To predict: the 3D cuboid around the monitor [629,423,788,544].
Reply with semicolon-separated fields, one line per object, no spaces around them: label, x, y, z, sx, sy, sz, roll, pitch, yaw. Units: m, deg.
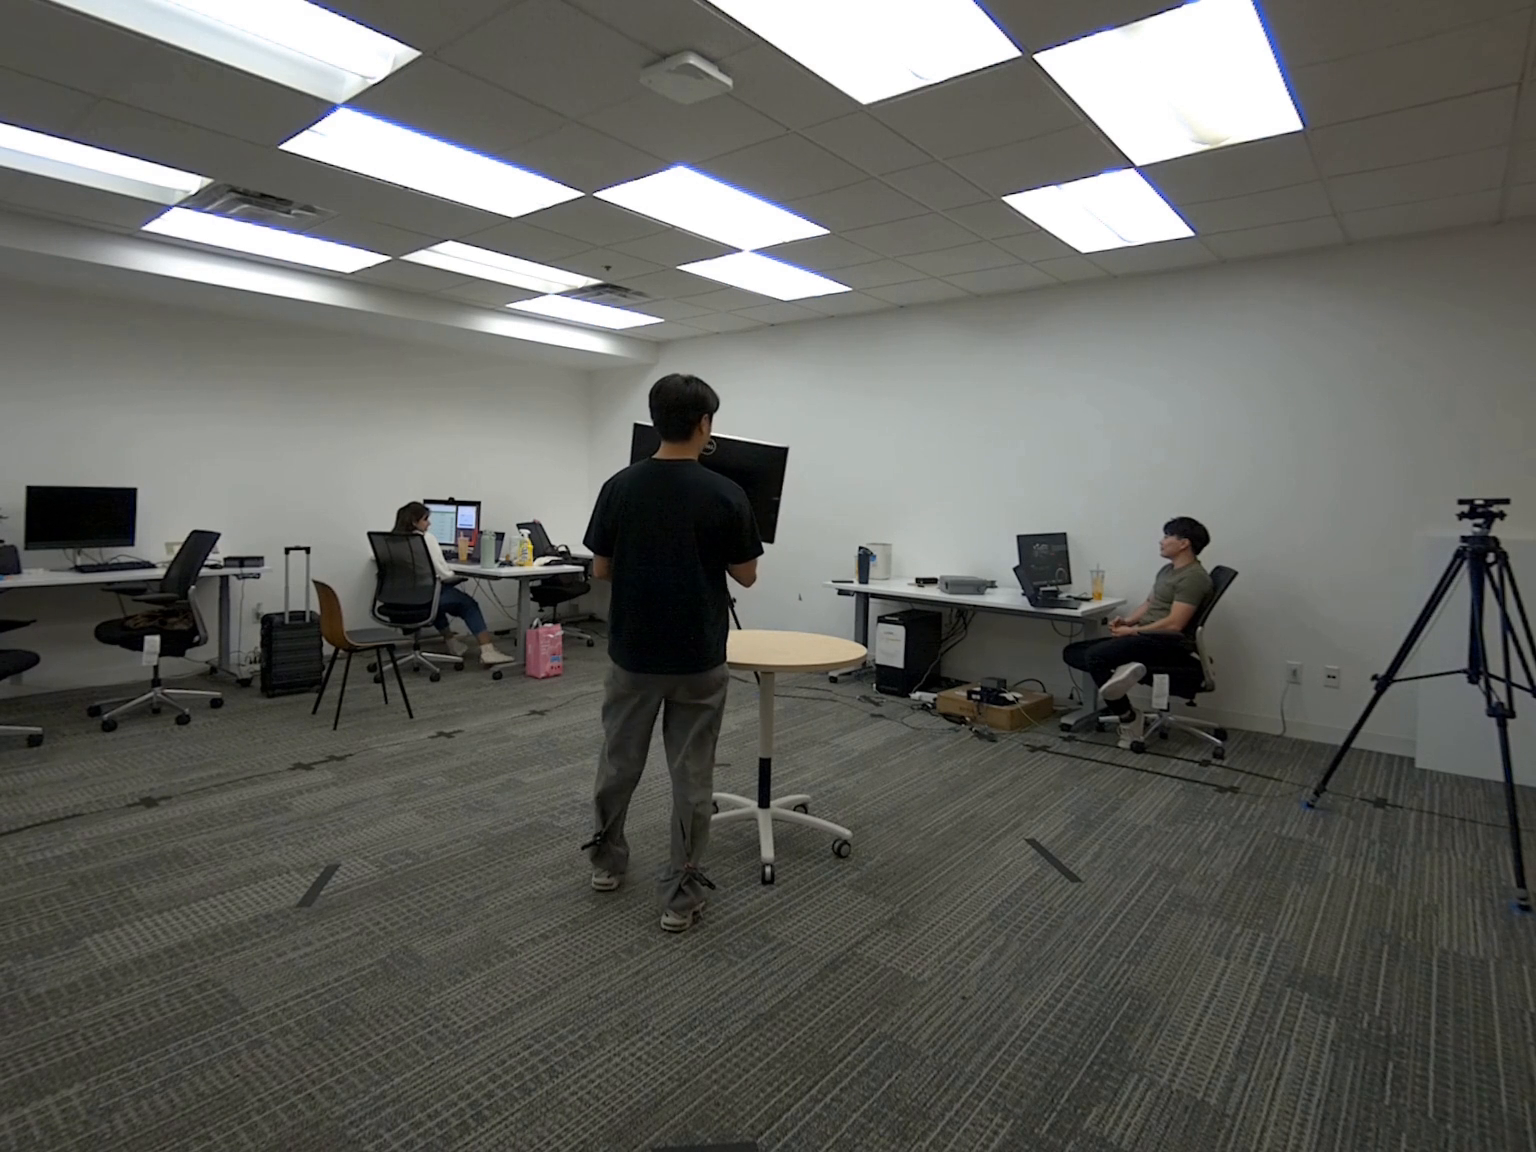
monitor;-0.259;-0.221;3.016;0.568;0.564;0.220;11;4;9
